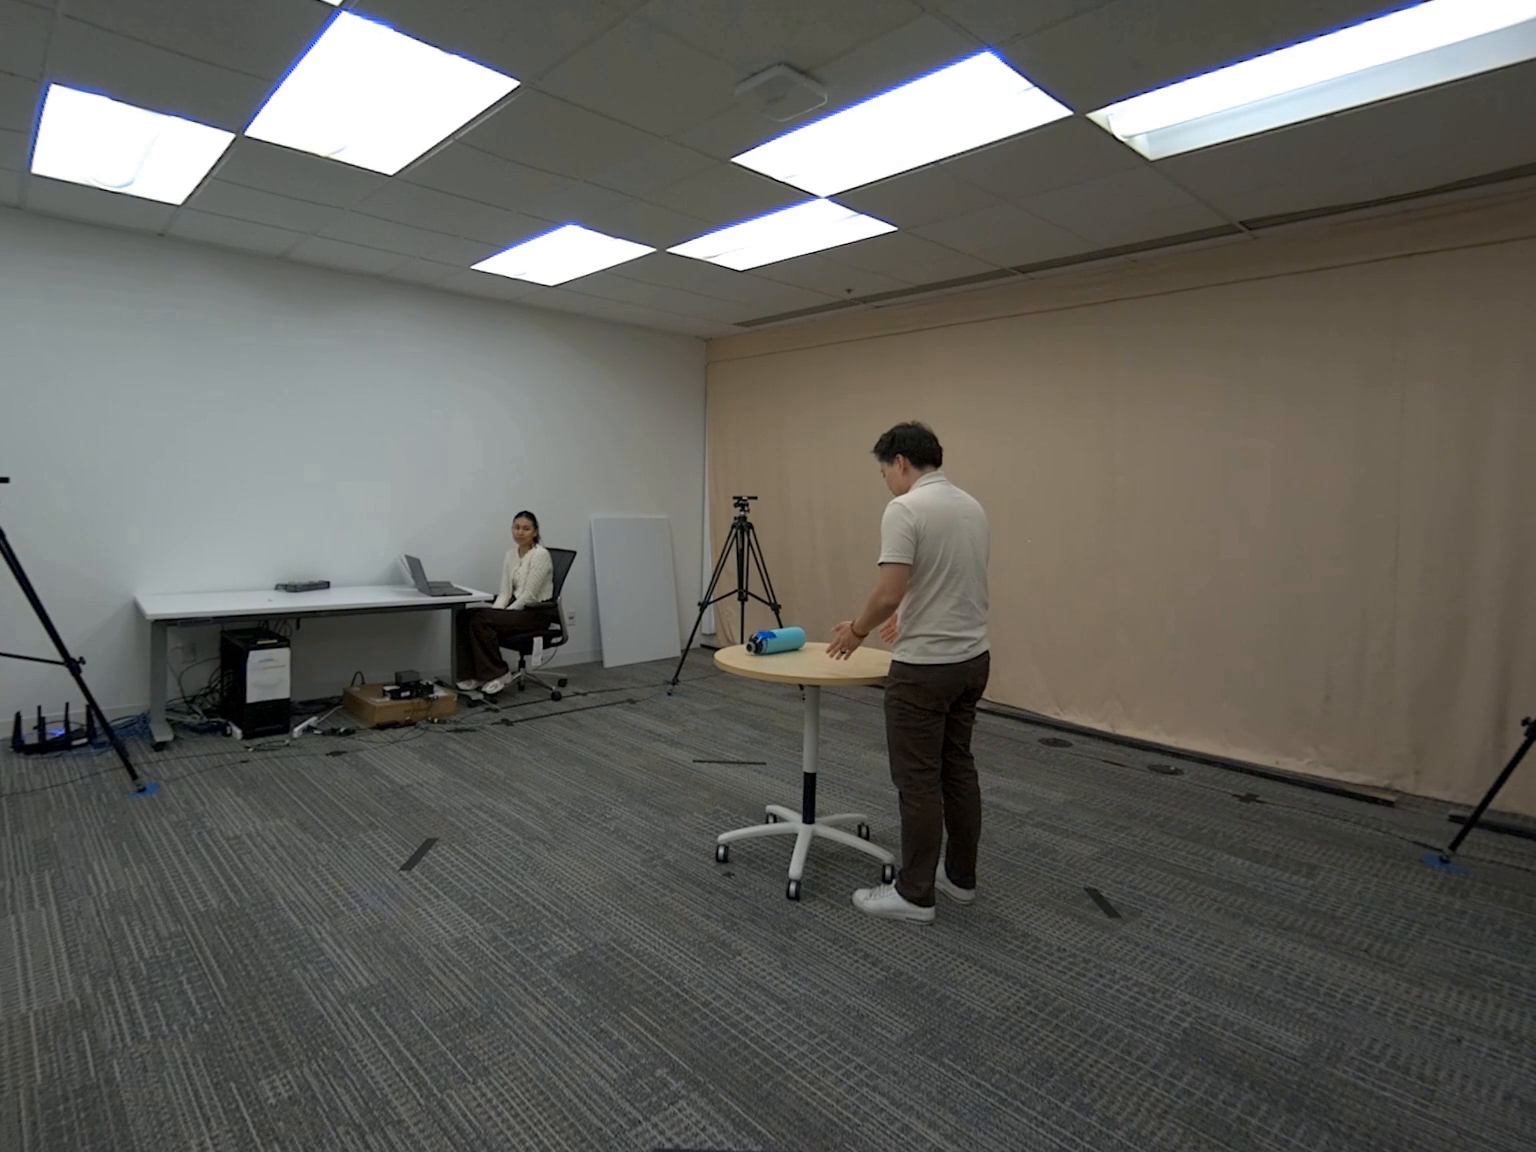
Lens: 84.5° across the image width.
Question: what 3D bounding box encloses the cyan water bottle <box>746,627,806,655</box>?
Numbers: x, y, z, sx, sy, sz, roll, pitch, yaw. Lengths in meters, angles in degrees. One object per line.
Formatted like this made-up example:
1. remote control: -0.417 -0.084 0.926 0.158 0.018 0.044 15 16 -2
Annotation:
1. cyan water bottle: 0.024 0.257 3.334 0.094 0.092 0.277 5 5 40
